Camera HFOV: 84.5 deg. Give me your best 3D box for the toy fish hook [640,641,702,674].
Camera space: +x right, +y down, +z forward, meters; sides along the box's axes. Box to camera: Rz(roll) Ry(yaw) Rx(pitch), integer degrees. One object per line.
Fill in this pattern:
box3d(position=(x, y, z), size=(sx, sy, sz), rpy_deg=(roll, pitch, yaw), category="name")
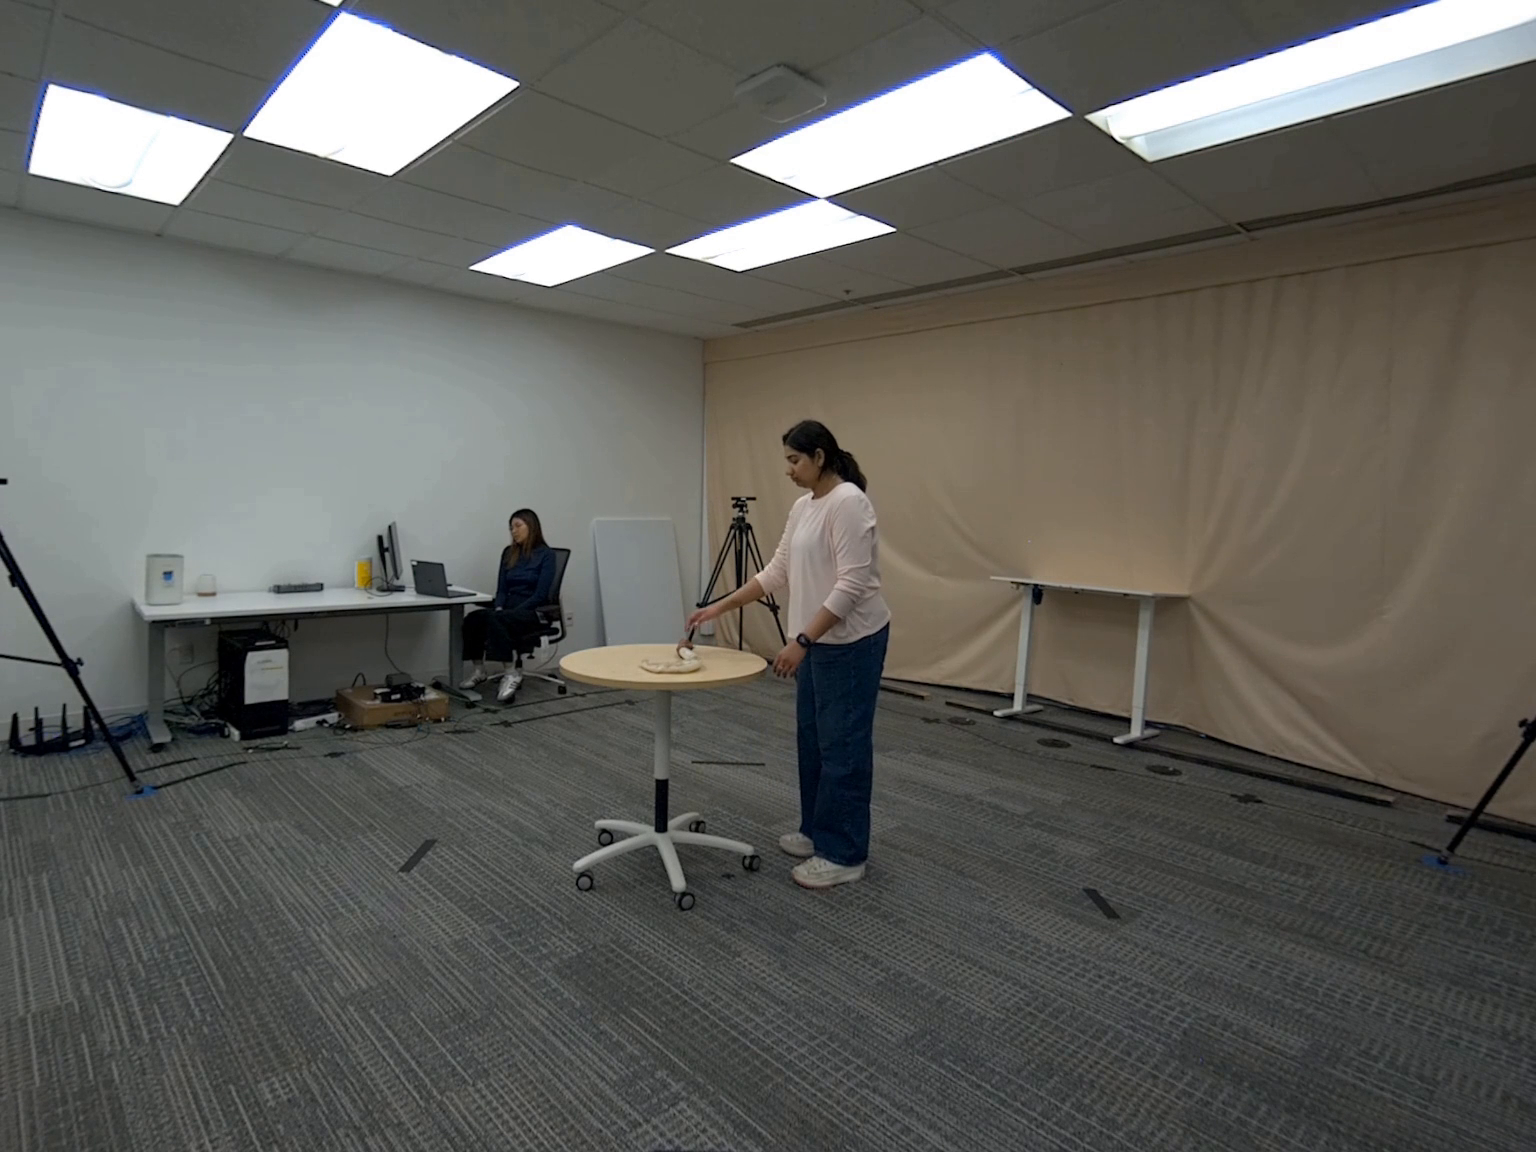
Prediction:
box3d(position=(-0.362, 0.293, 3.135), size=(0.224, 0.048, 0.510), rpy_deg=(1, 5, -5), category="toy fish hook")
